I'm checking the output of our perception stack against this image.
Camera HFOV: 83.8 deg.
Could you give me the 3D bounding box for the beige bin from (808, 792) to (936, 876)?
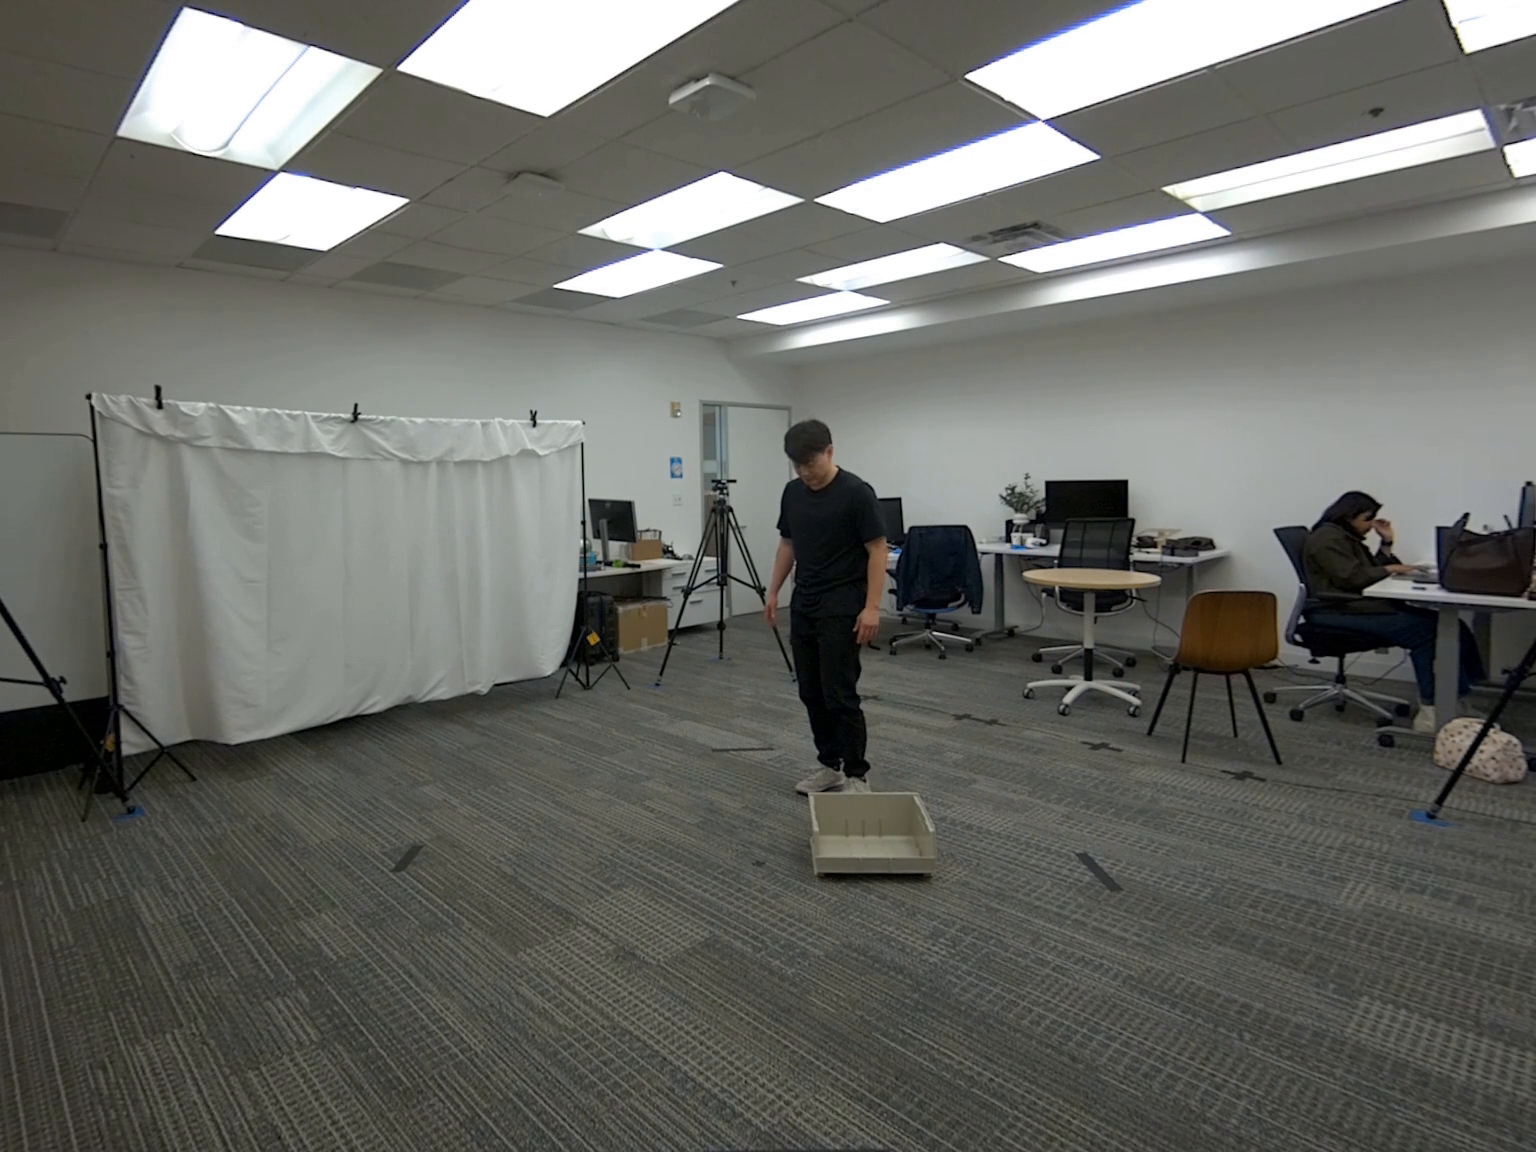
[{"bbox_3d":[0.372,0.953,3.123,0.423,0.188,0.378,-2,6,1],"label":"beige bin"}]
